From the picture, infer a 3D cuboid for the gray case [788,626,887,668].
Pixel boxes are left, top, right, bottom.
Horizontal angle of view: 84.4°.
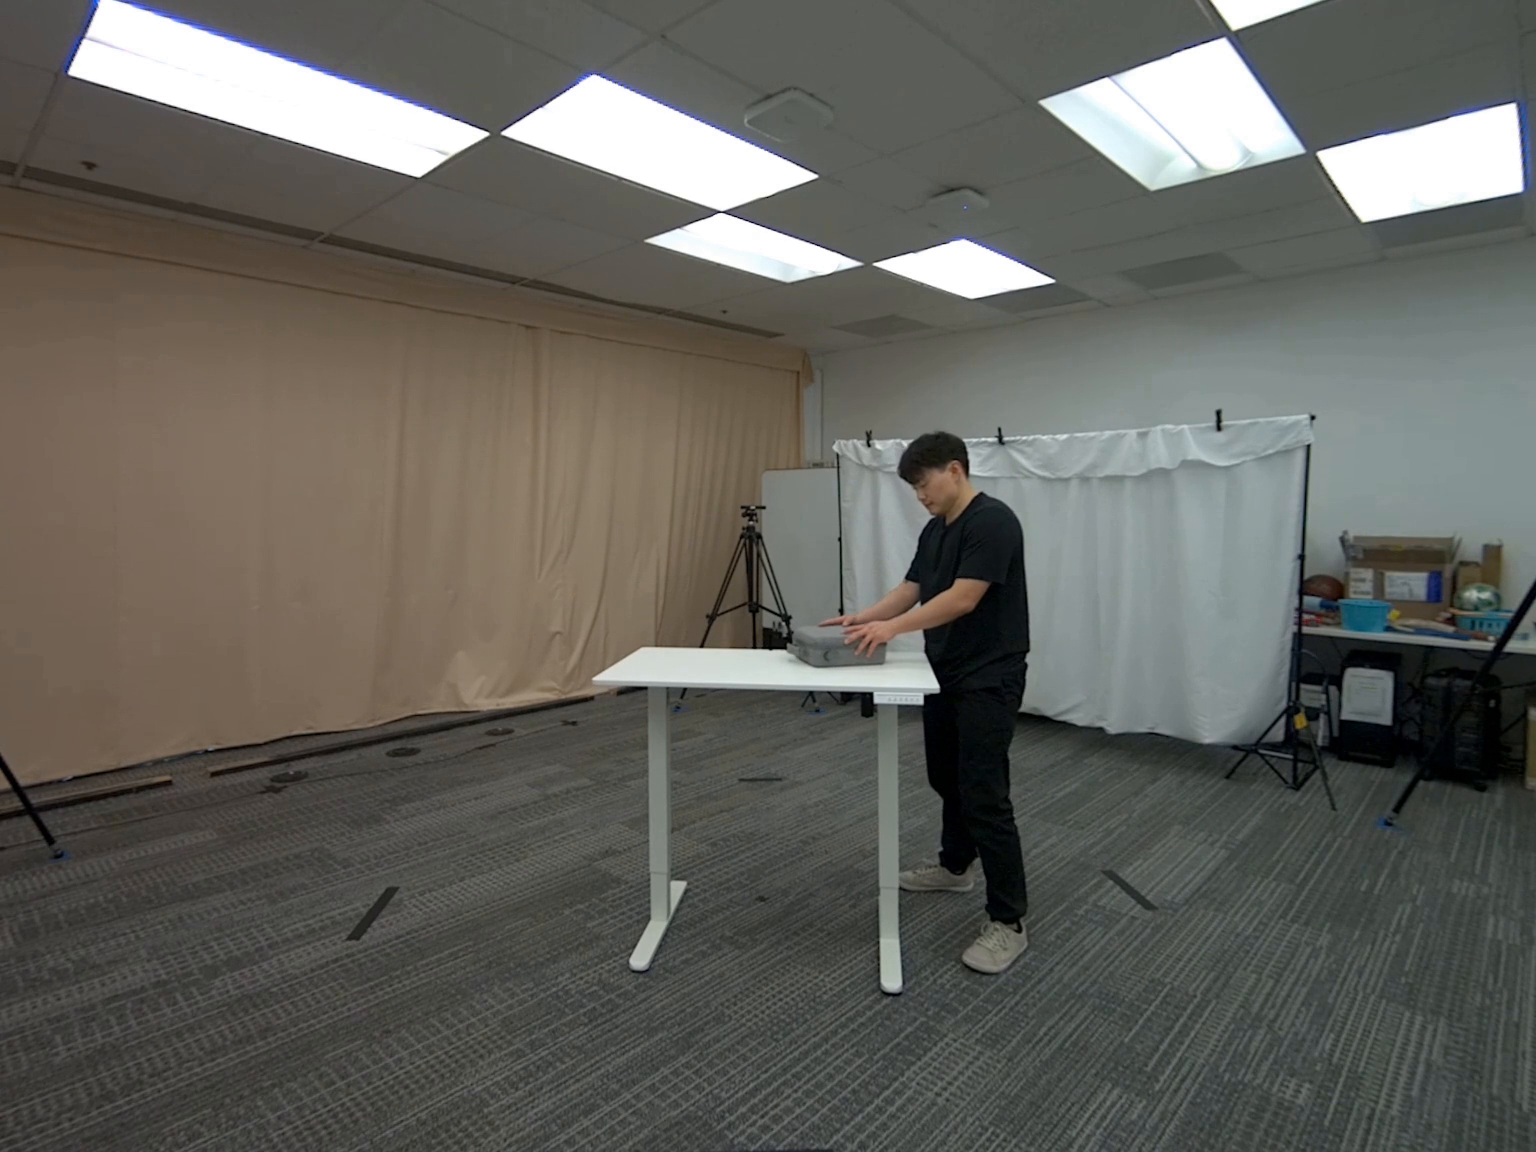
[{"bbox_3d":[0.228,0.232,2.762,0.257,0.104,0.261,-2,6,-13],"label":"gray case"}]
